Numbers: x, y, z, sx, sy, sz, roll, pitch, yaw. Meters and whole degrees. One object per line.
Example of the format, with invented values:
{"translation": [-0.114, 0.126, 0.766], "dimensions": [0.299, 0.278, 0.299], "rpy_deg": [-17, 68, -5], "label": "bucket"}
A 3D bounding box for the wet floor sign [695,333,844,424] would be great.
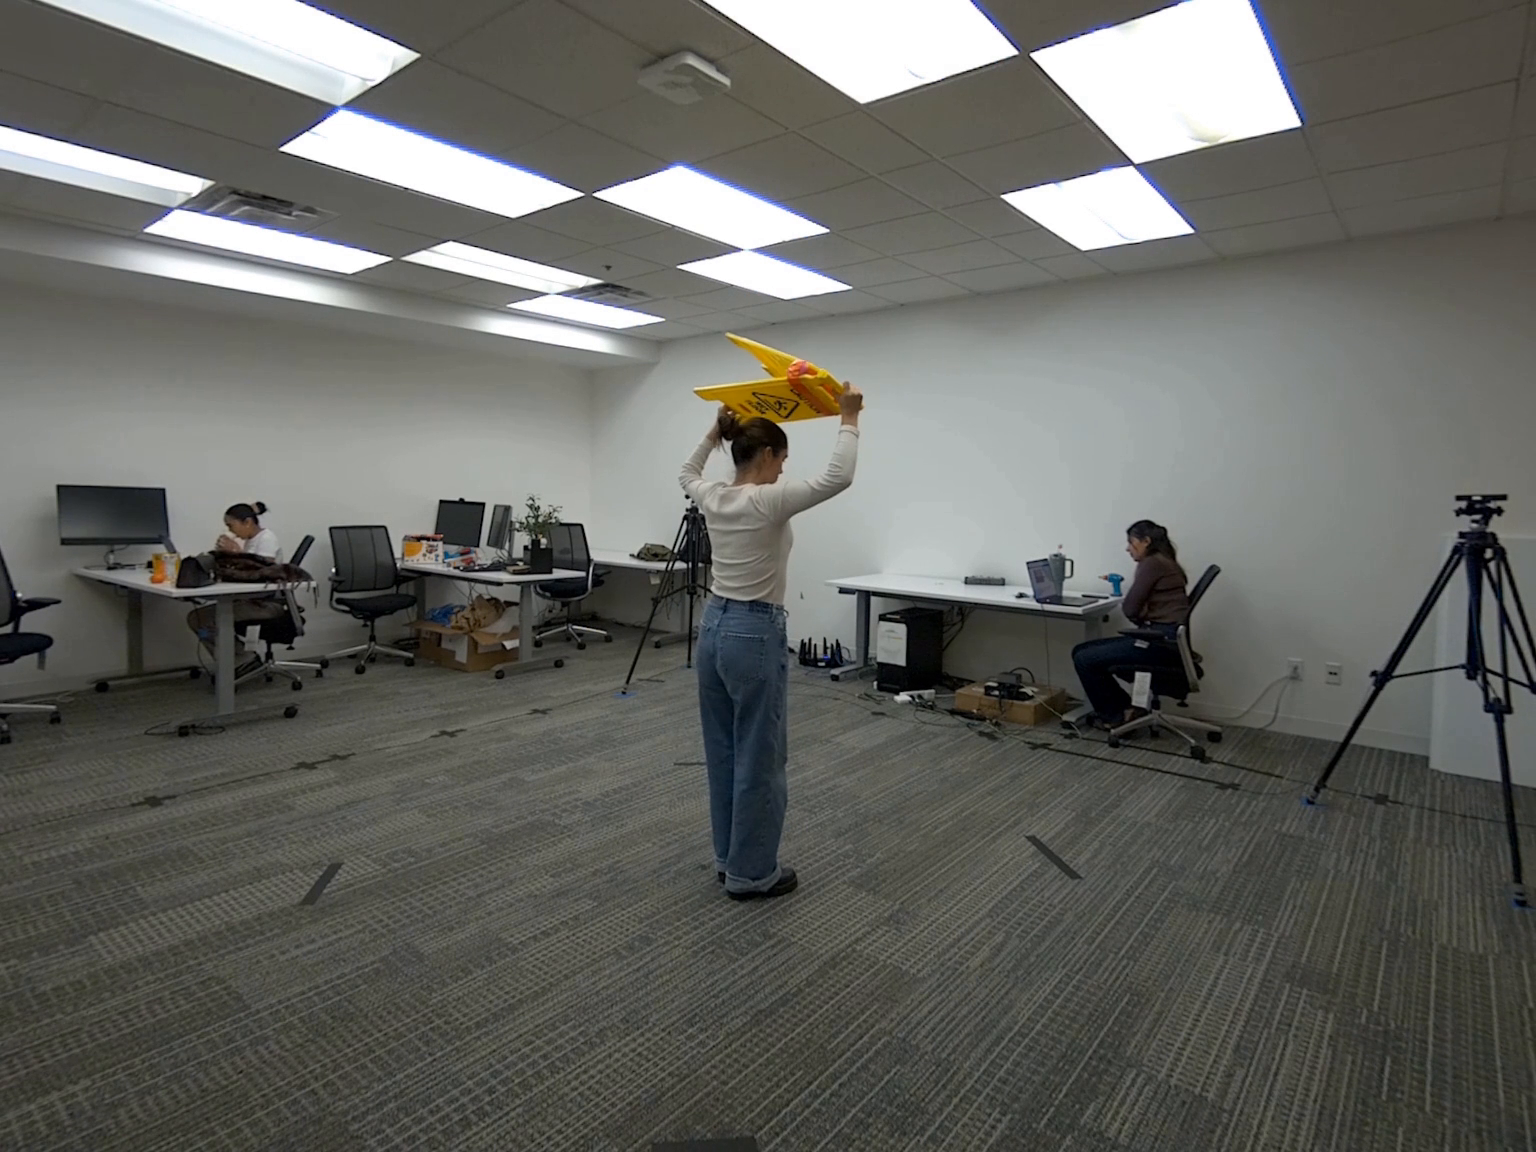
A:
{"translation": [0.054, -0.667, 2.970], "dimensions": [0.271, 0.290, 0.671], "rpy_deg": [34, -8, -37], "label": "wet floor sign"}
